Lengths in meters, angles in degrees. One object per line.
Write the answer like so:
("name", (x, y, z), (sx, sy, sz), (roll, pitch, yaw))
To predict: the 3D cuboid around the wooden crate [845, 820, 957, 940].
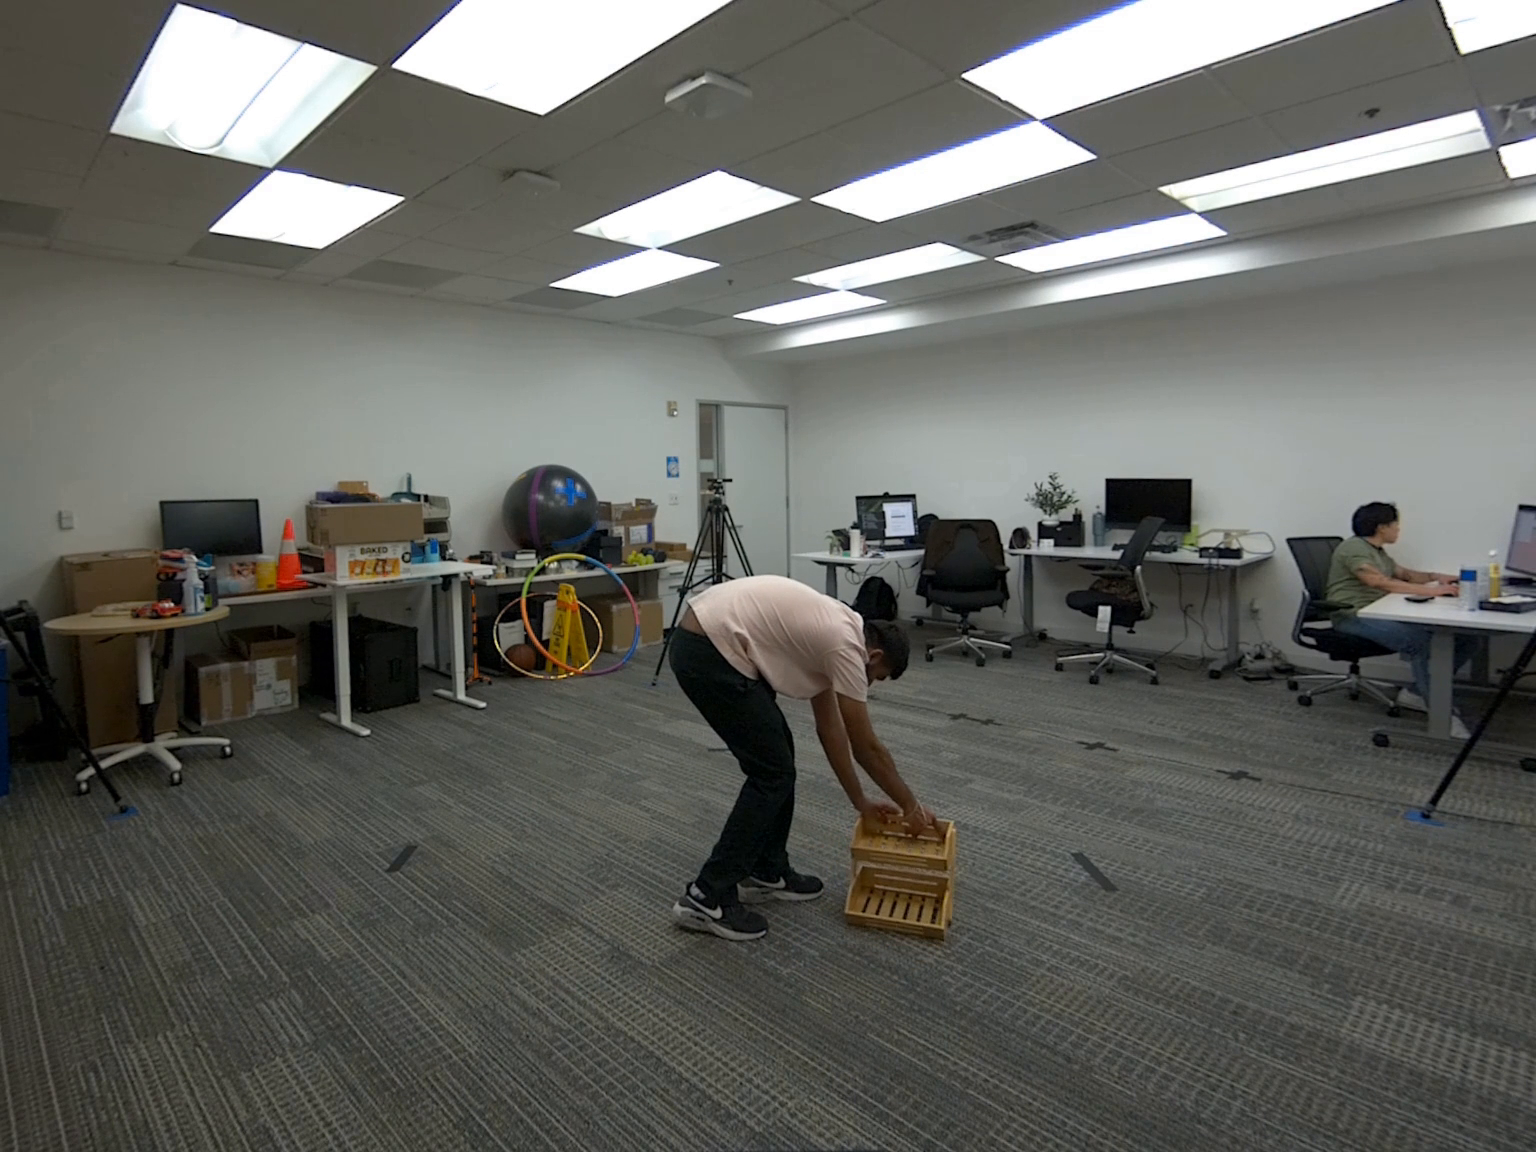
("wooden crate", (0.423, 0.940, 2.733), (0.330, 0.272, 0.297), (1, 4, 19))
